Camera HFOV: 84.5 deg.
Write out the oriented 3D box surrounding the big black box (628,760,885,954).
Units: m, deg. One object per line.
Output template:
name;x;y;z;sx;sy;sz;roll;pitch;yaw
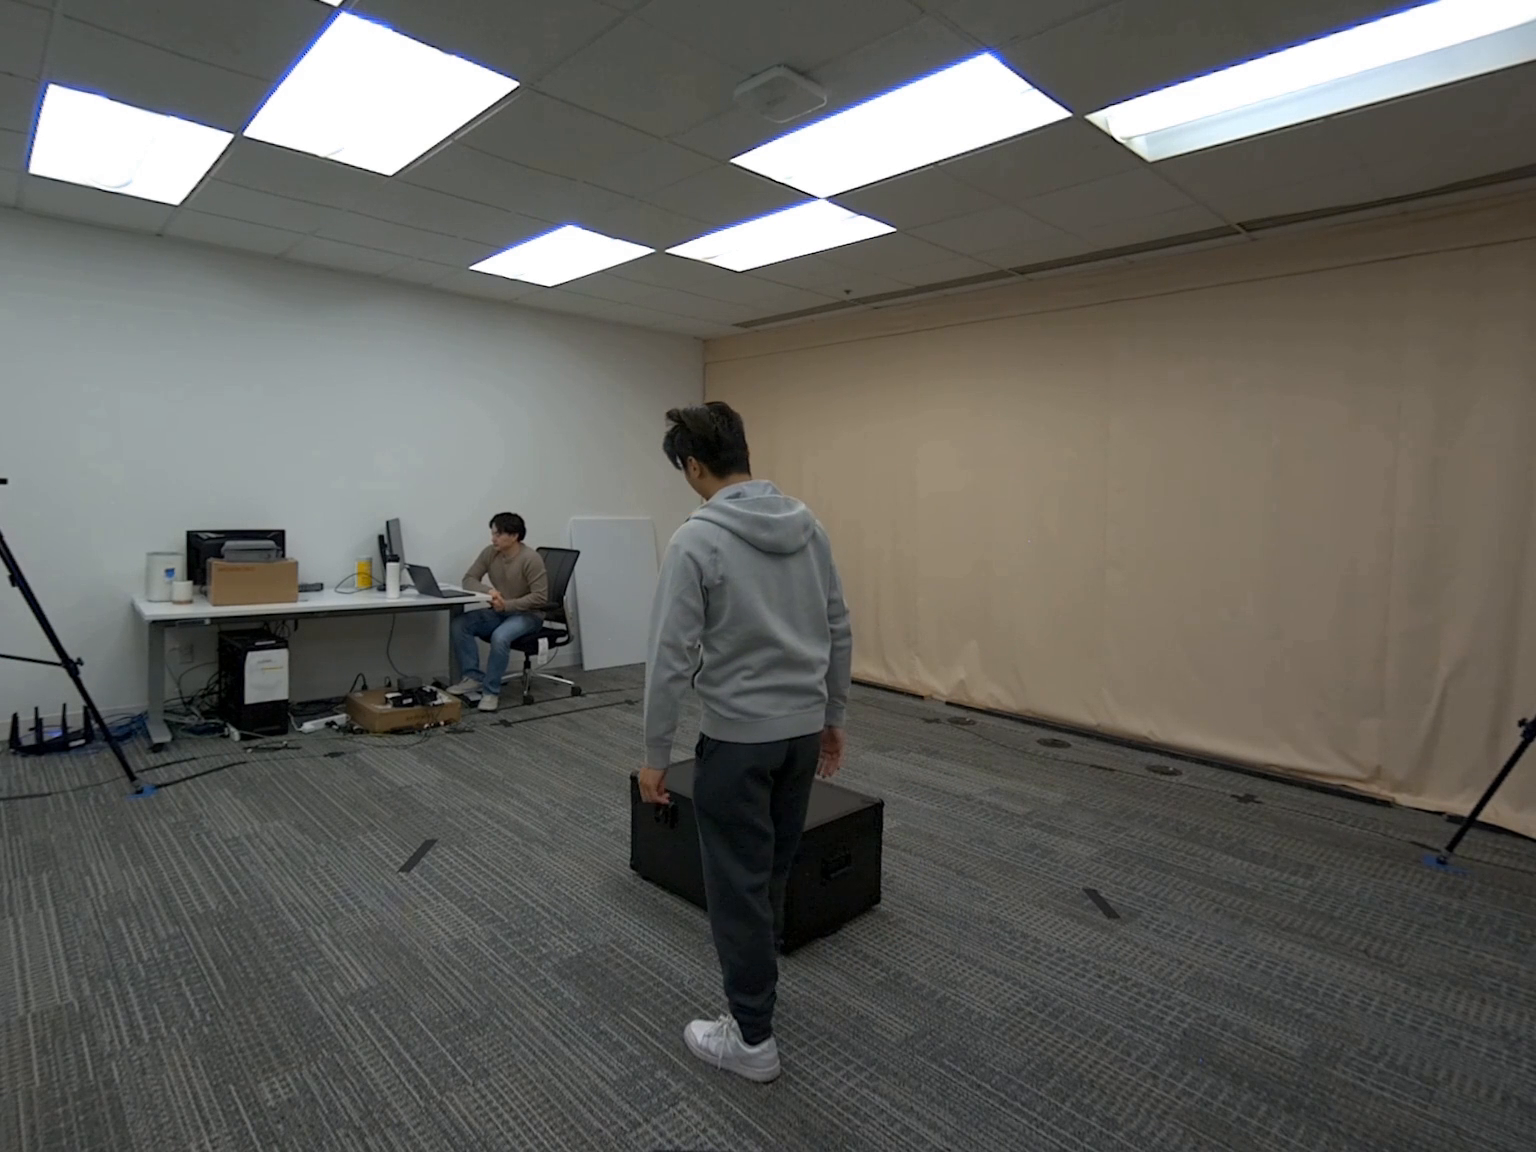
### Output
big black box;-0.084;0.928;2.997;0.884;0.395;0.509;7;7;45
